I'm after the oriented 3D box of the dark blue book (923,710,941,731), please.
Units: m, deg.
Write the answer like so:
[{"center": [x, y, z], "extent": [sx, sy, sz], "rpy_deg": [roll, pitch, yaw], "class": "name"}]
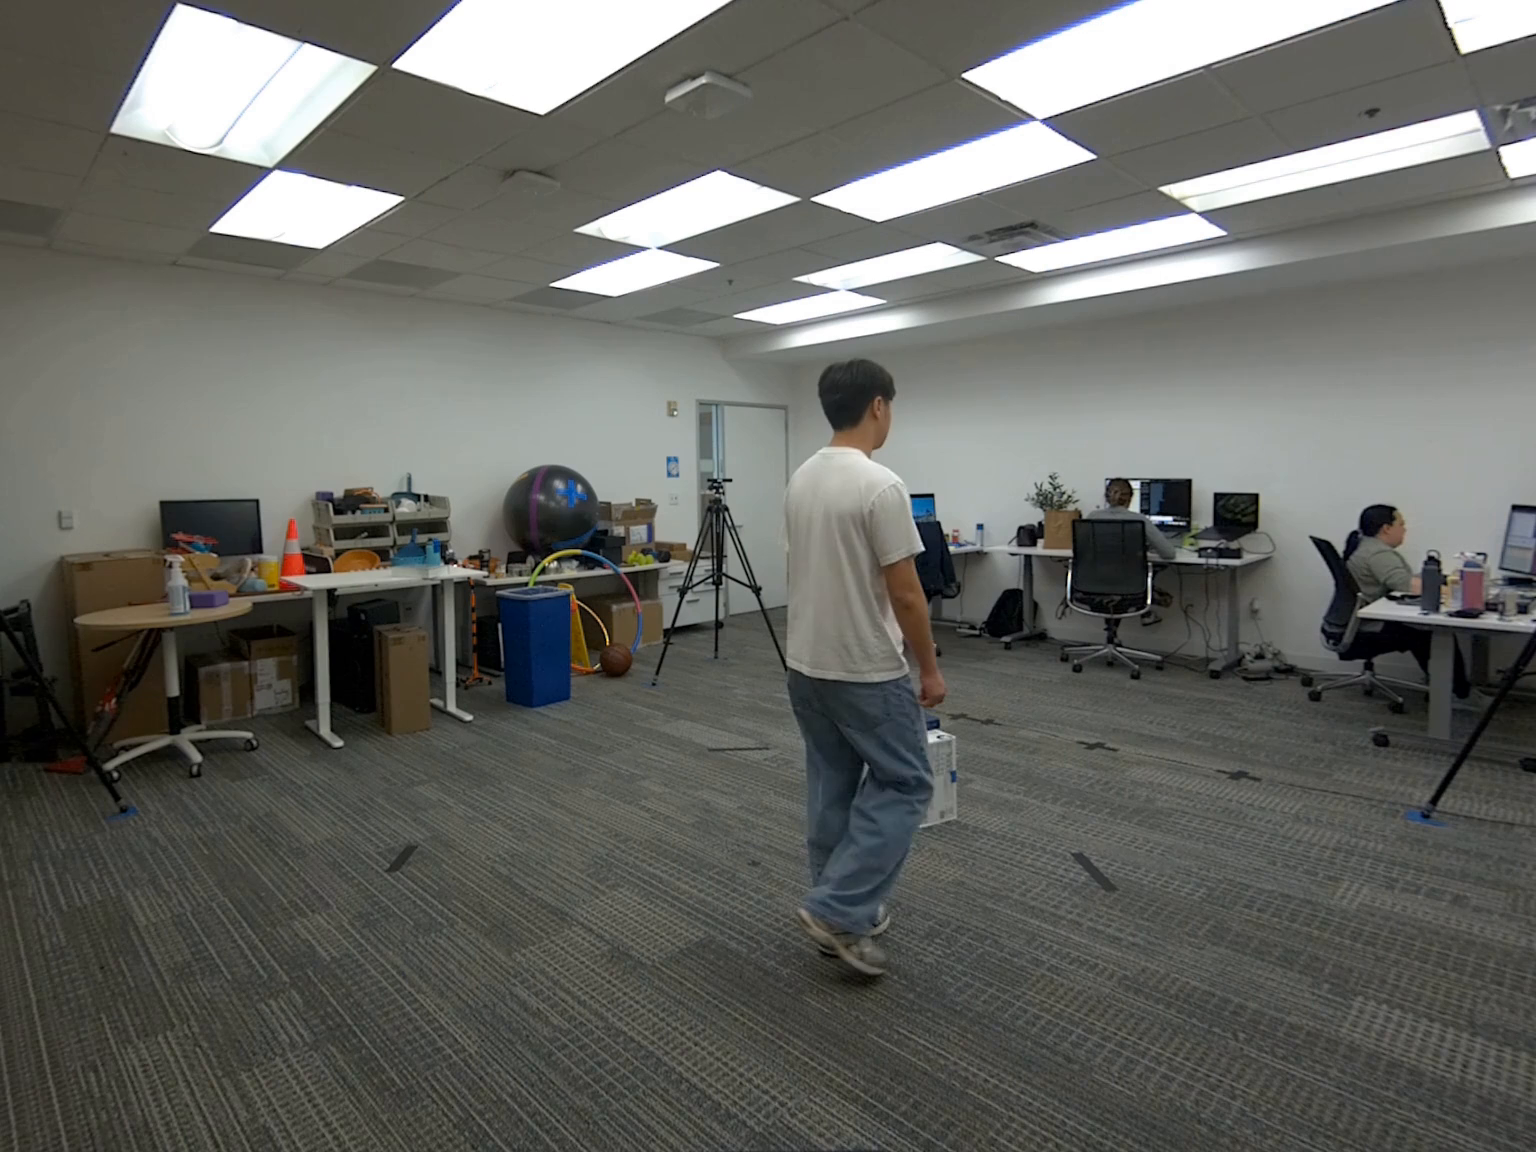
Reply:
[{"center": [0.585, 0.621, 3.603], "extent": [0.240, 0.045, 0.168], "rpy_deg": [-6, 9, -27], "class": "dark blue book"}]
